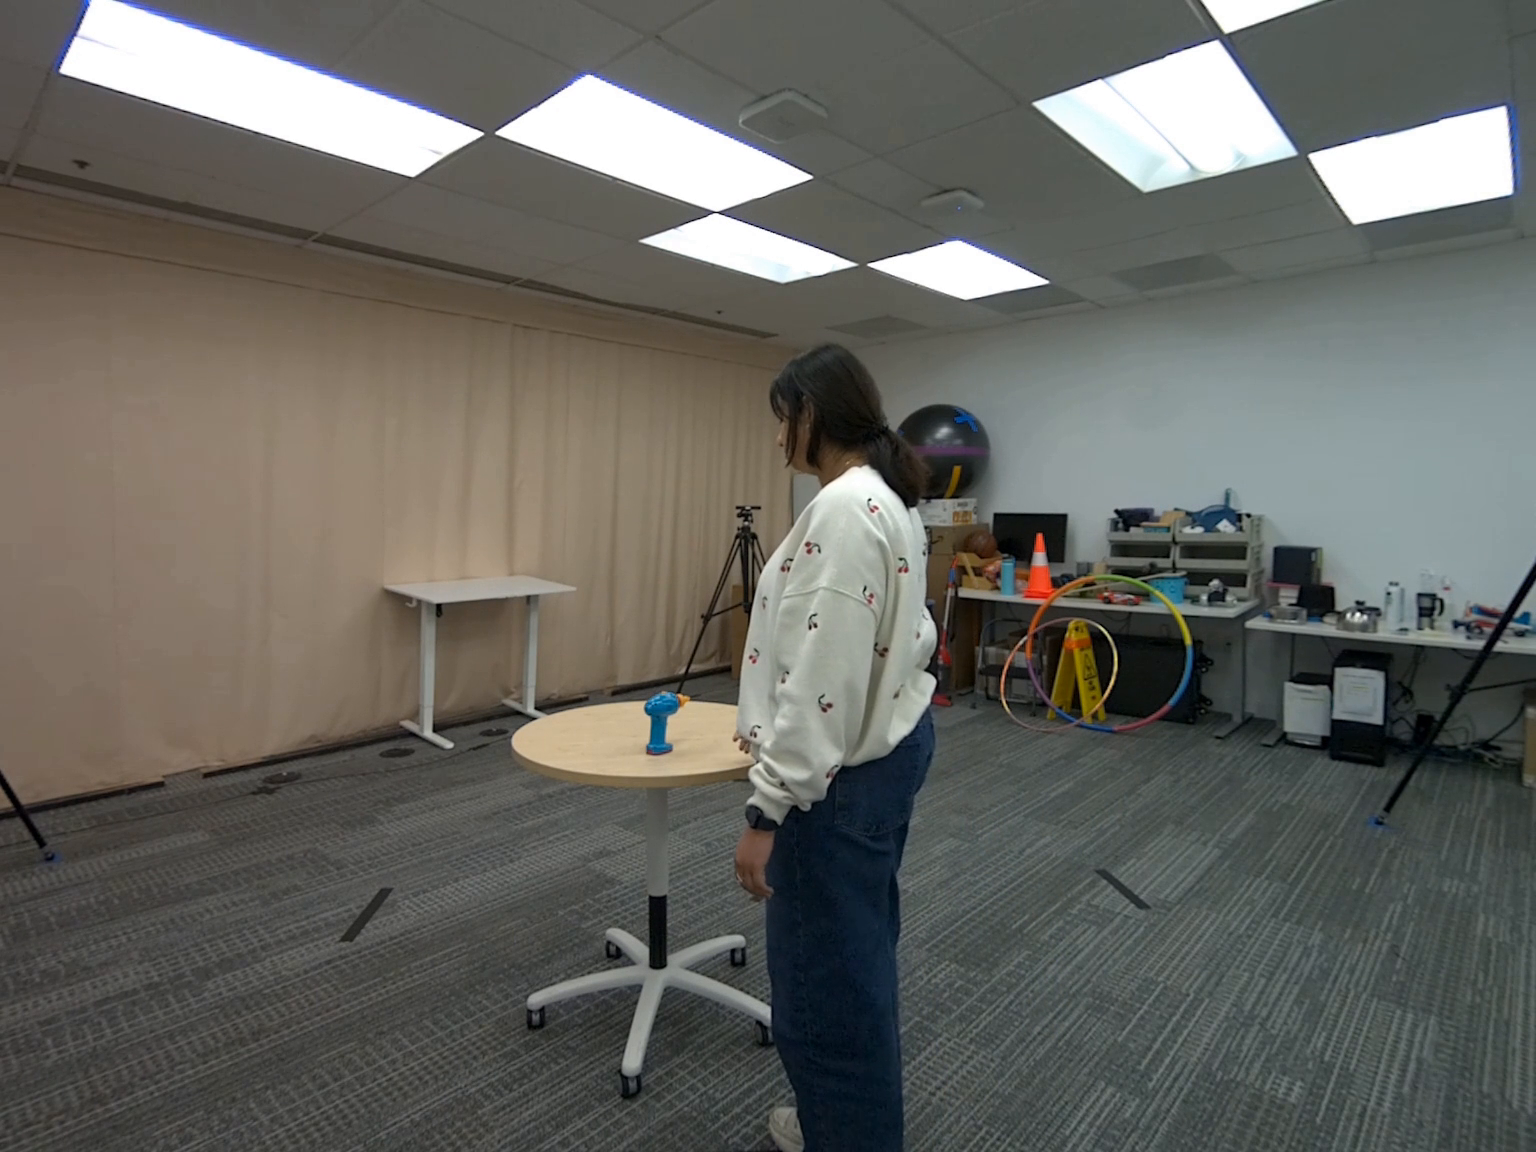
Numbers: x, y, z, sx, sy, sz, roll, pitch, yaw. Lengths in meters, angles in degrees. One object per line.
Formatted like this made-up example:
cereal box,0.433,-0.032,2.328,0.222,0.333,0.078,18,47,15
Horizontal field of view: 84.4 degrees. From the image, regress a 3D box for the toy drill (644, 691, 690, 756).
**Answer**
toy drill,-0.256,0.363,2.104,0.063,0.146,0.166,-2,3,25
